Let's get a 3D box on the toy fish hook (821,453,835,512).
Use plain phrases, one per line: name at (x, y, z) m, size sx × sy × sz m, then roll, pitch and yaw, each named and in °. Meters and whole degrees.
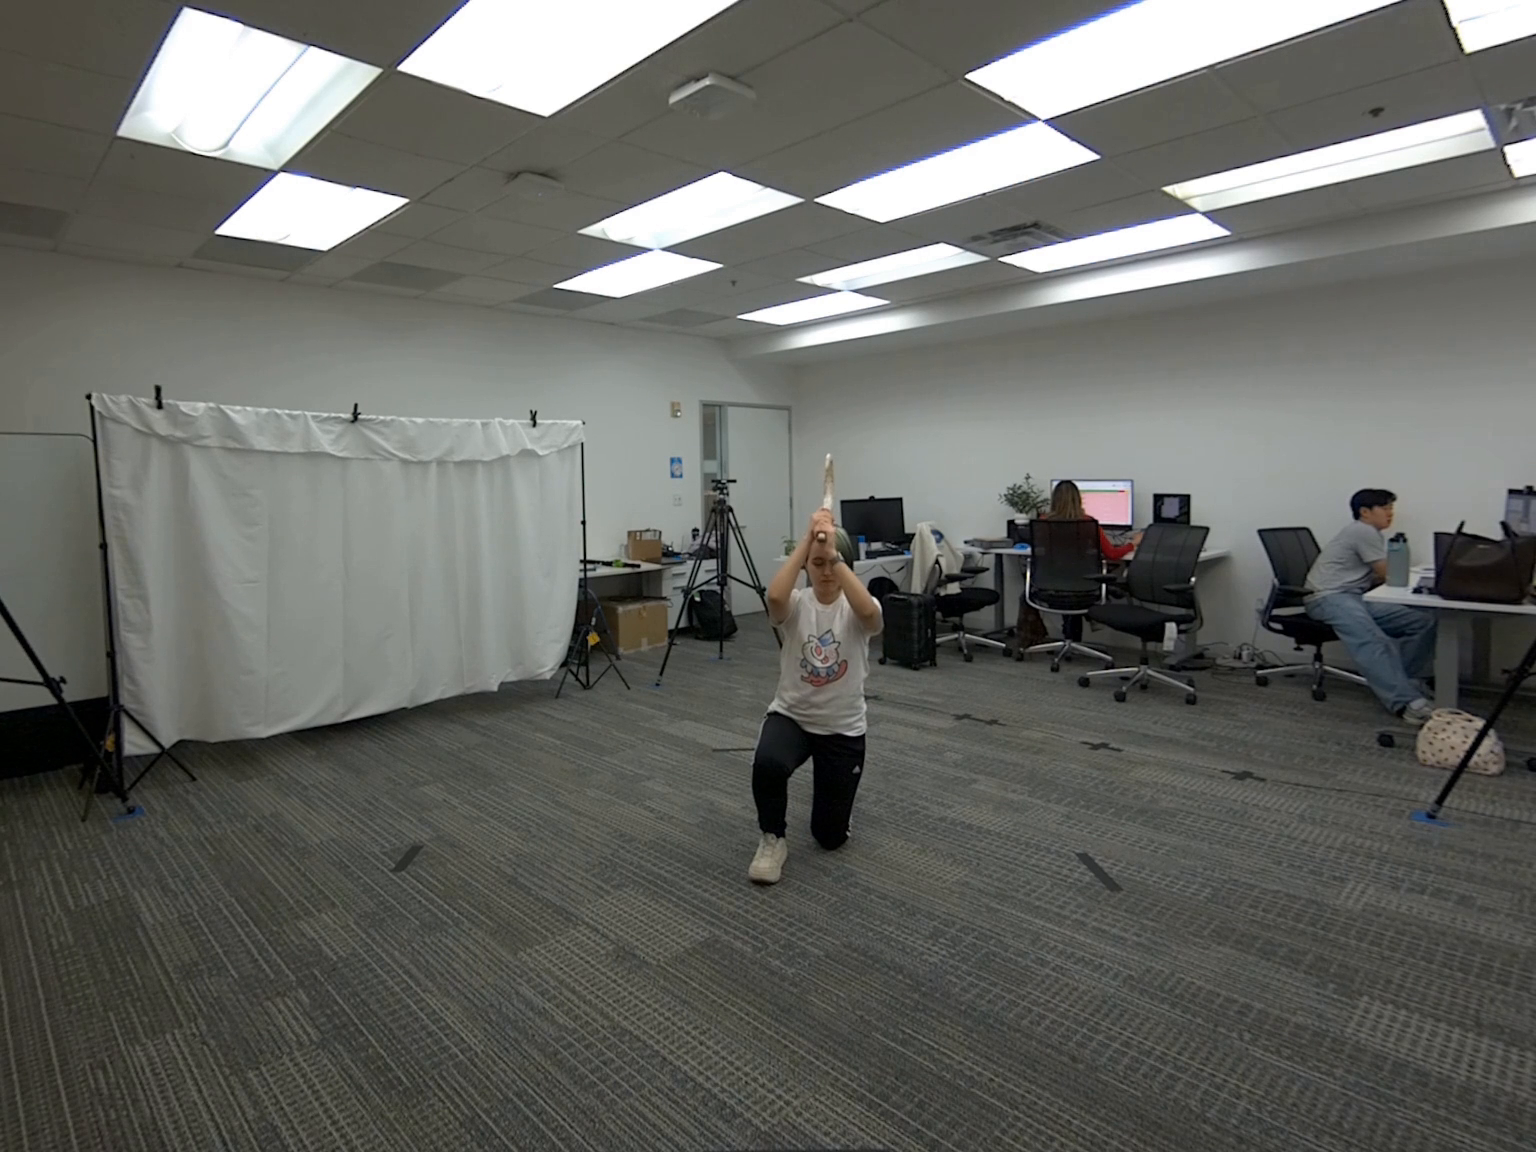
toy fish hook at (0.207, -0.291, 3.080) m, size 0.049 × 0.219 × 0.513 m, roll -3°, pitch 27°, yaw 10°
